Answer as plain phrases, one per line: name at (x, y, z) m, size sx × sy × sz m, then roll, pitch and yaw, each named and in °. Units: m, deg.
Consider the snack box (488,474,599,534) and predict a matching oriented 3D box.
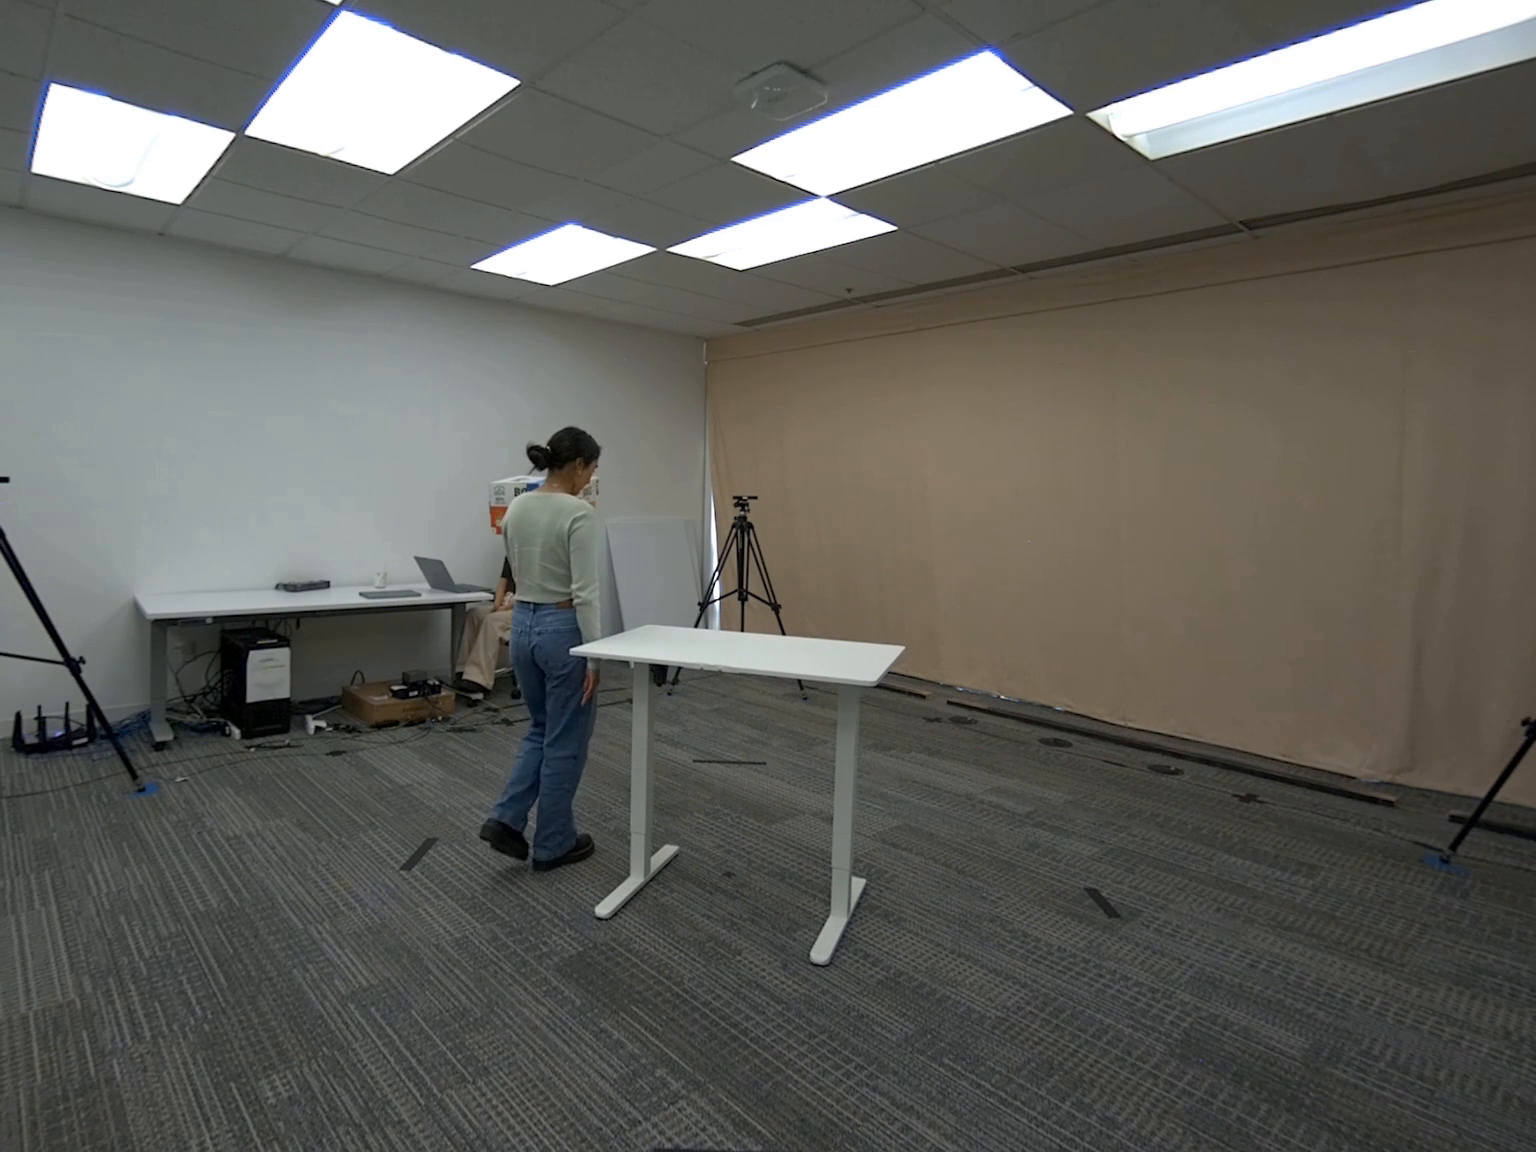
snack box at (-0.910, -0.296, 3.438) m, size 0.342 × 0.204 × 0.406 m, roll 3°, pitch 10°, yaw 4°
